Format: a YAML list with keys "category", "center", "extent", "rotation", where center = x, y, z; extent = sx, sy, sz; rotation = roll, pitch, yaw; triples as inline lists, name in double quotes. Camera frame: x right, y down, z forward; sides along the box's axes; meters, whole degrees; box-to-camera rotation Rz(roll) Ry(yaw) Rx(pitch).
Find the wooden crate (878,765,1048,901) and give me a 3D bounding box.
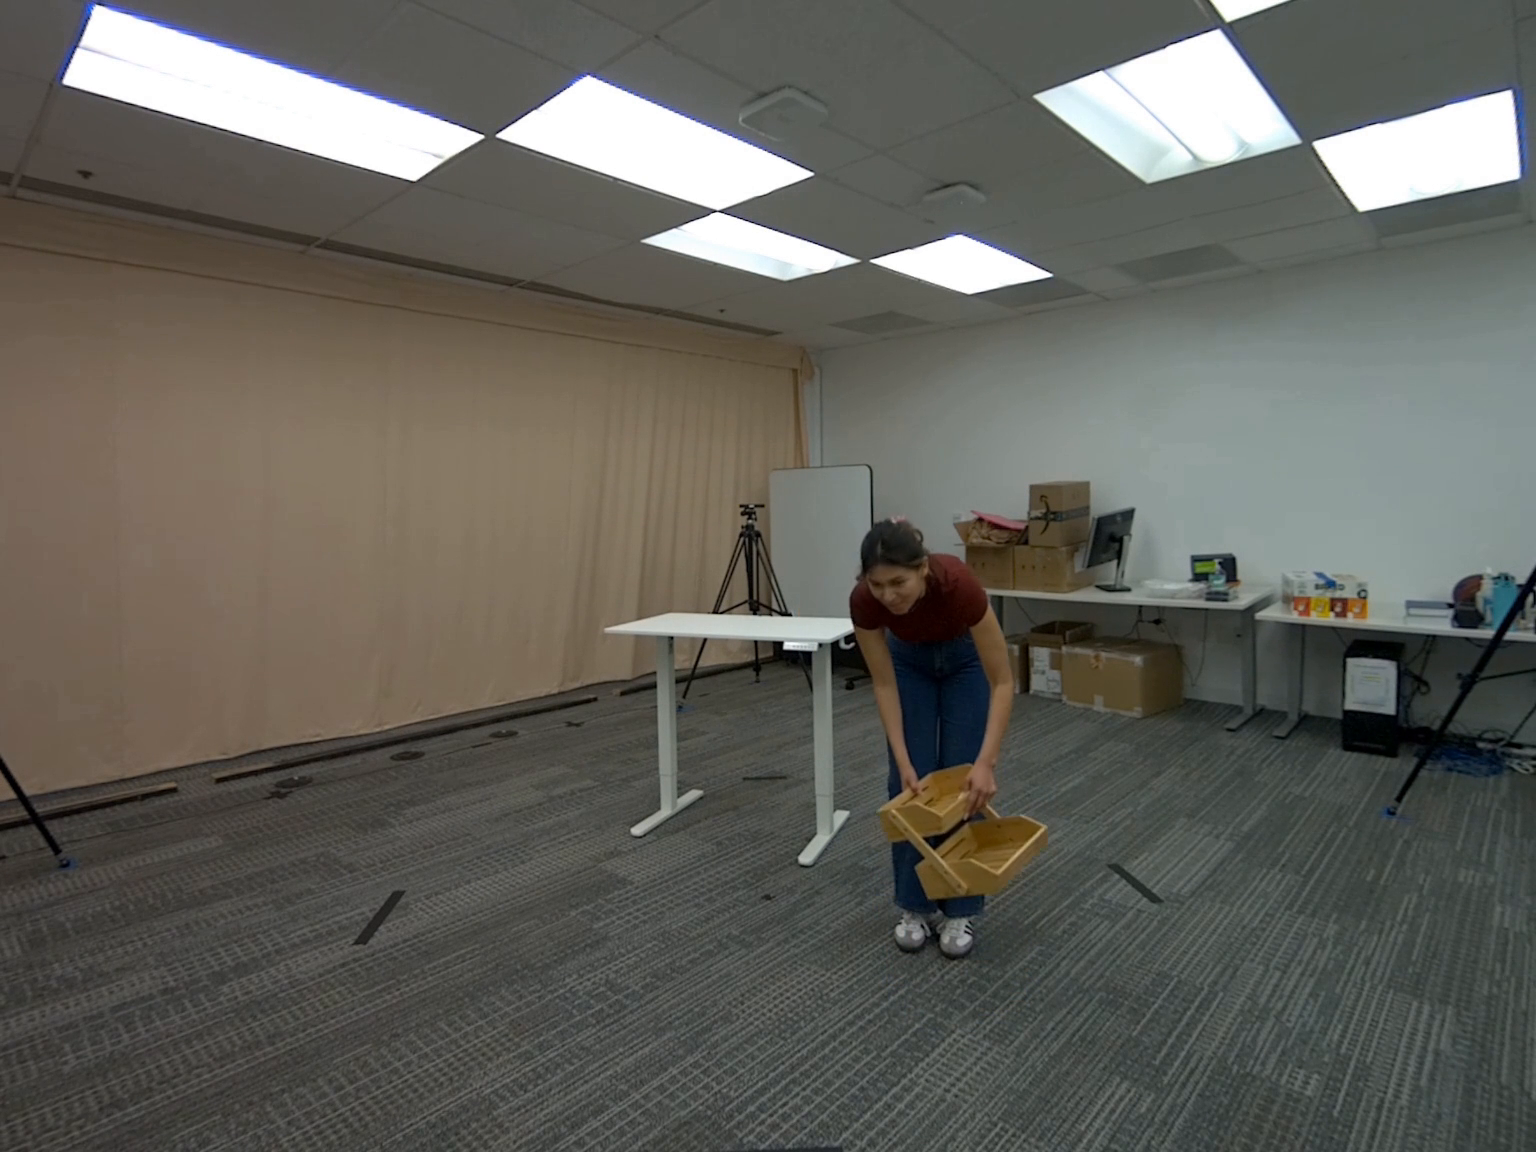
- category: "wooden crate"
  center: [0.548, 0.694, 2.362]
  extent: [0.316, 0.275, 0.307]
  rotation: [-16, -10, -46]
